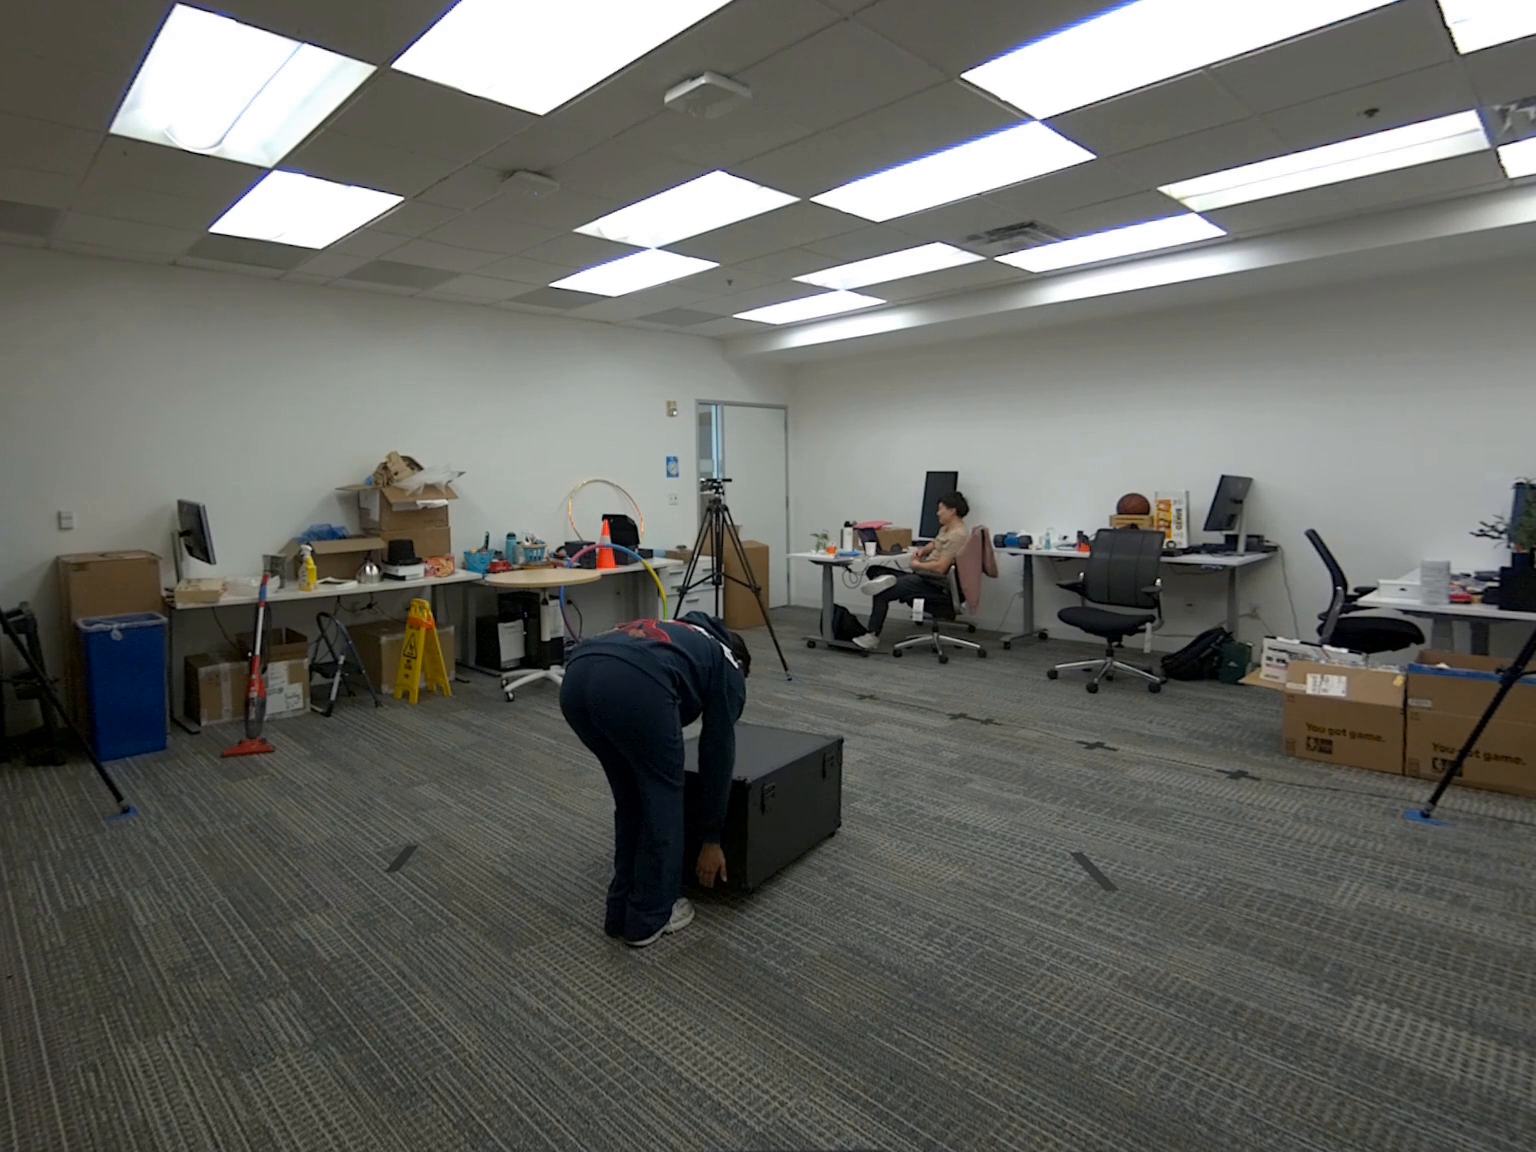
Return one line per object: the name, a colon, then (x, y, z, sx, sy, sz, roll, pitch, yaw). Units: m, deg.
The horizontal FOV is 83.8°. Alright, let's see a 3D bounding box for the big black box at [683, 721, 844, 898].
big black box: (-0.073, 0.823, 3.203, 0.534, 0.396, 0.841, 2, 3, 28)
